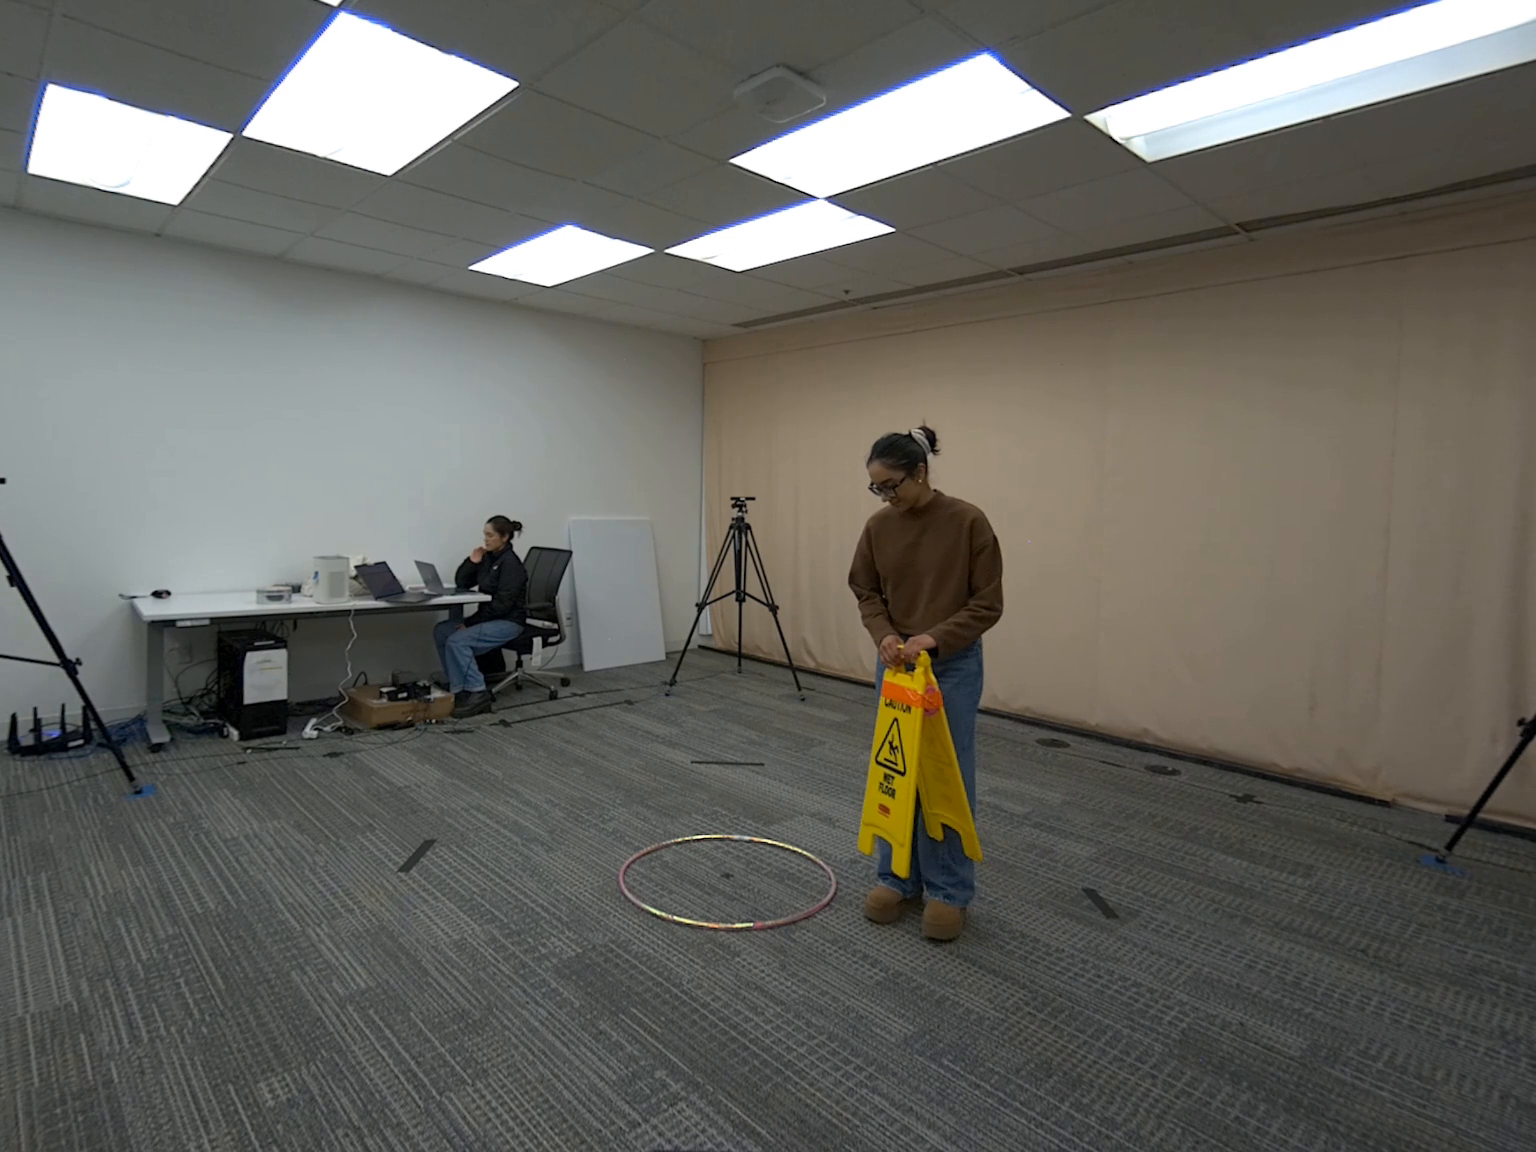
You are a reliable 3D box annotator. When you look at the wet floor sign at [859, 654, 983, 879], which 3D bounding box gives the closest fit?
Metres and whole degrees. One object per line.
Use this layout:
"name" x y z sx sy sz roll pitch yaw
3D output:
"wet floor sign" 0.441 0.554 2.605 0.285 0.646 0.287 -3 1 -22
